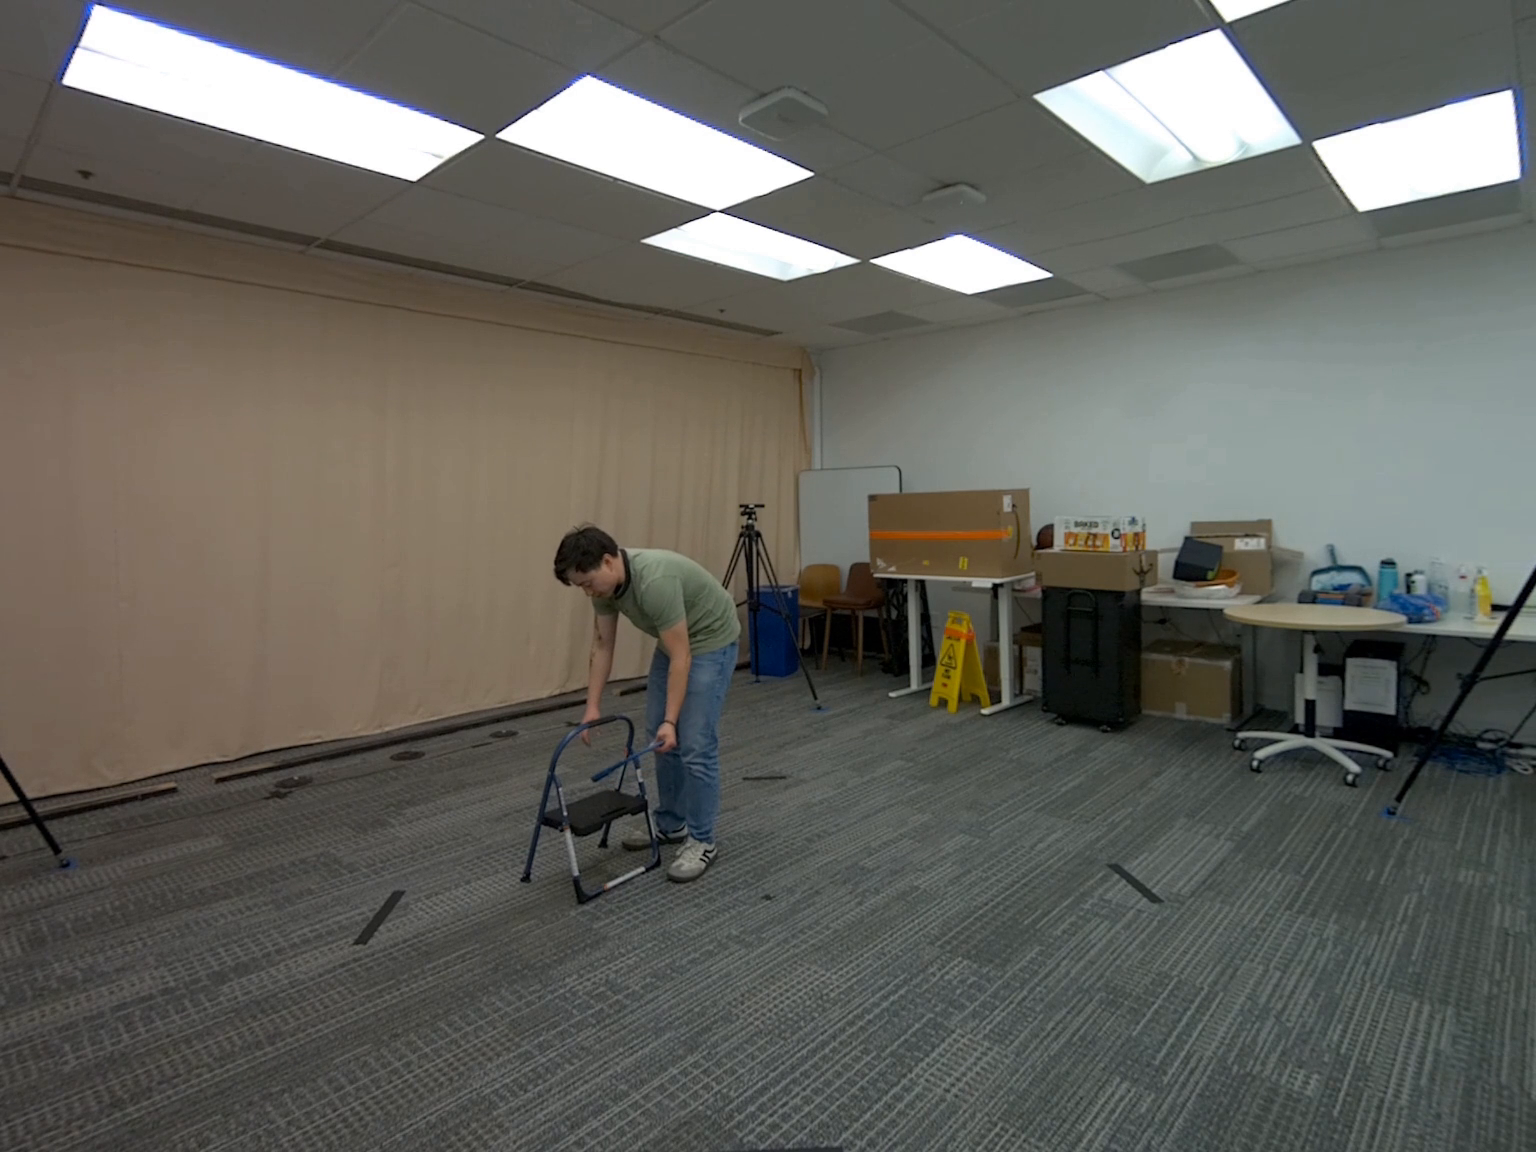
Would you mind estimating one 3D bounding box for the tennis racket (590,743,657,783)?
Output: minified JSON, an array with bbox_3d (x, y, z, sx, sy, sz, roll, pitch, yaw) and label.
[{"bbox_3d":[-0.527,0.675,3.059,0.208,0.032,0.439,-20,-11,-46],"label":"tennis racket"}]
